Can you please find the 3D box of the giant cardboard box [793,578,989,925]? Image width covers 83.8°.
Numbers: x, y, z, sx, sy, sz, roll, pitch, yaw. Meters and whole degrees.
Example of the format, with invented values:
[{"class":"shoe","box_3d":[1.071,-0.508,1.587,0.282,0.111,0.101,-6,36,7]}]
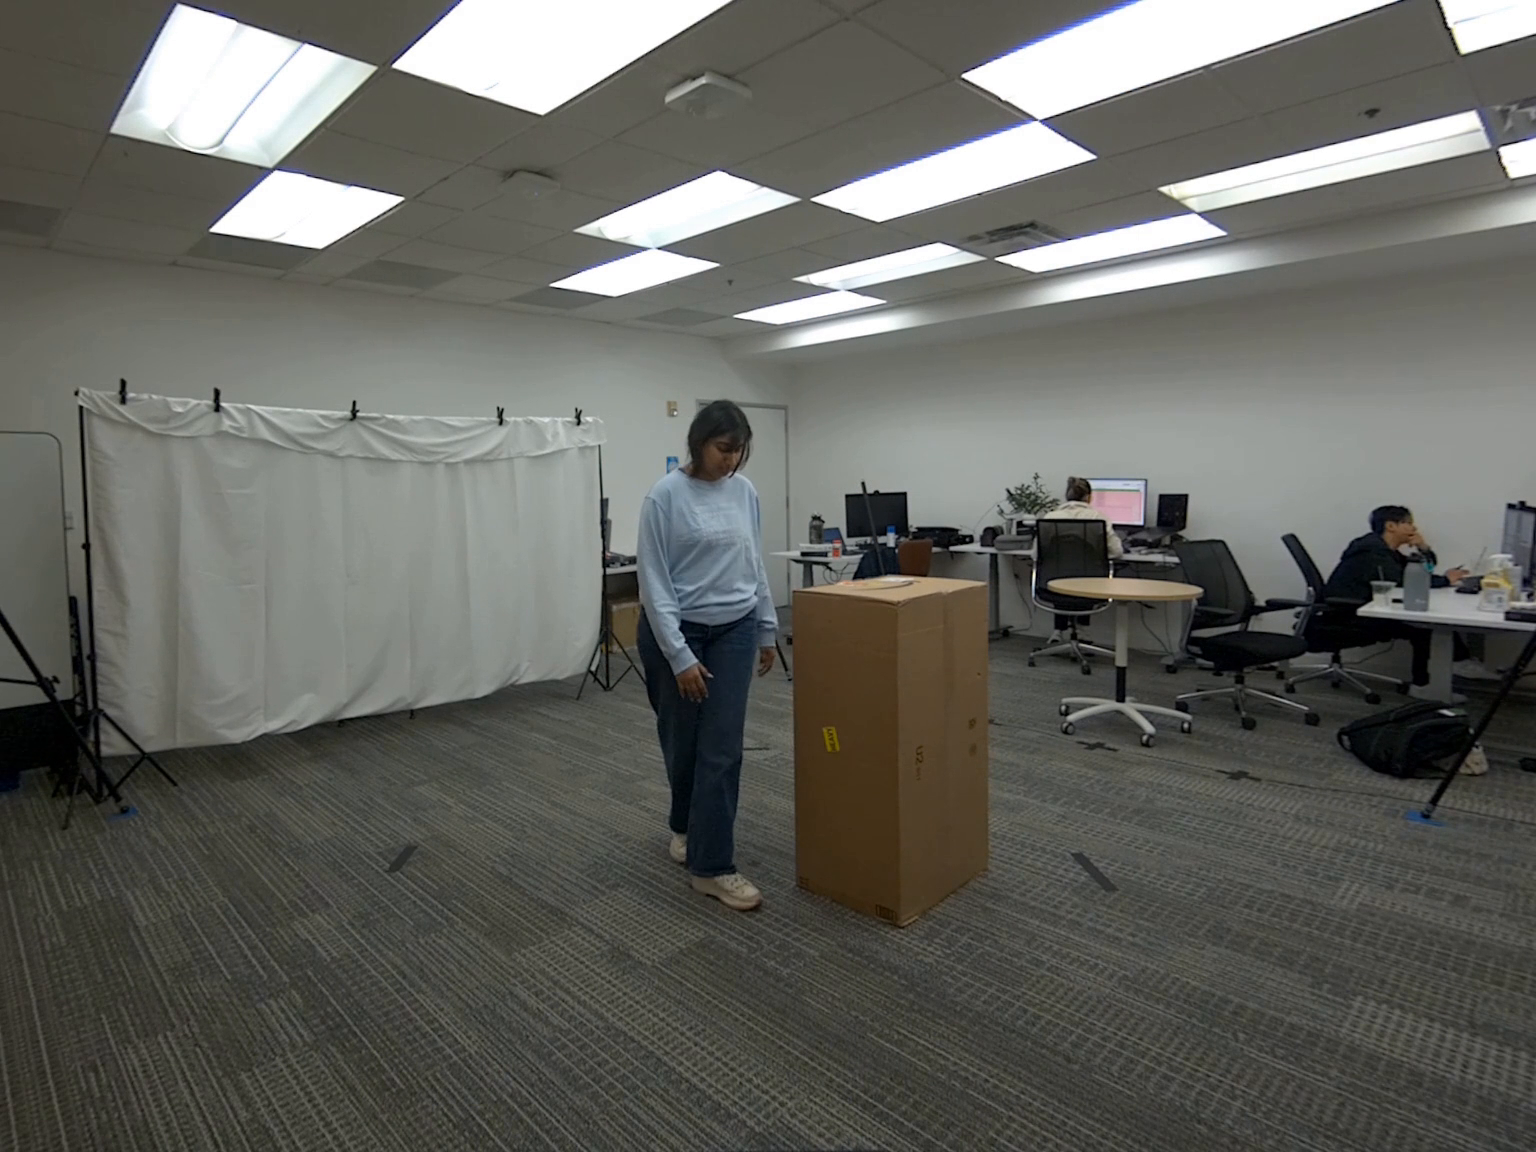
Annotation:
[{"class":"giant cardboard box","box_3d":[0.433,0.543,2.958,0.460,1.024,0.568,2,5,44]}]
